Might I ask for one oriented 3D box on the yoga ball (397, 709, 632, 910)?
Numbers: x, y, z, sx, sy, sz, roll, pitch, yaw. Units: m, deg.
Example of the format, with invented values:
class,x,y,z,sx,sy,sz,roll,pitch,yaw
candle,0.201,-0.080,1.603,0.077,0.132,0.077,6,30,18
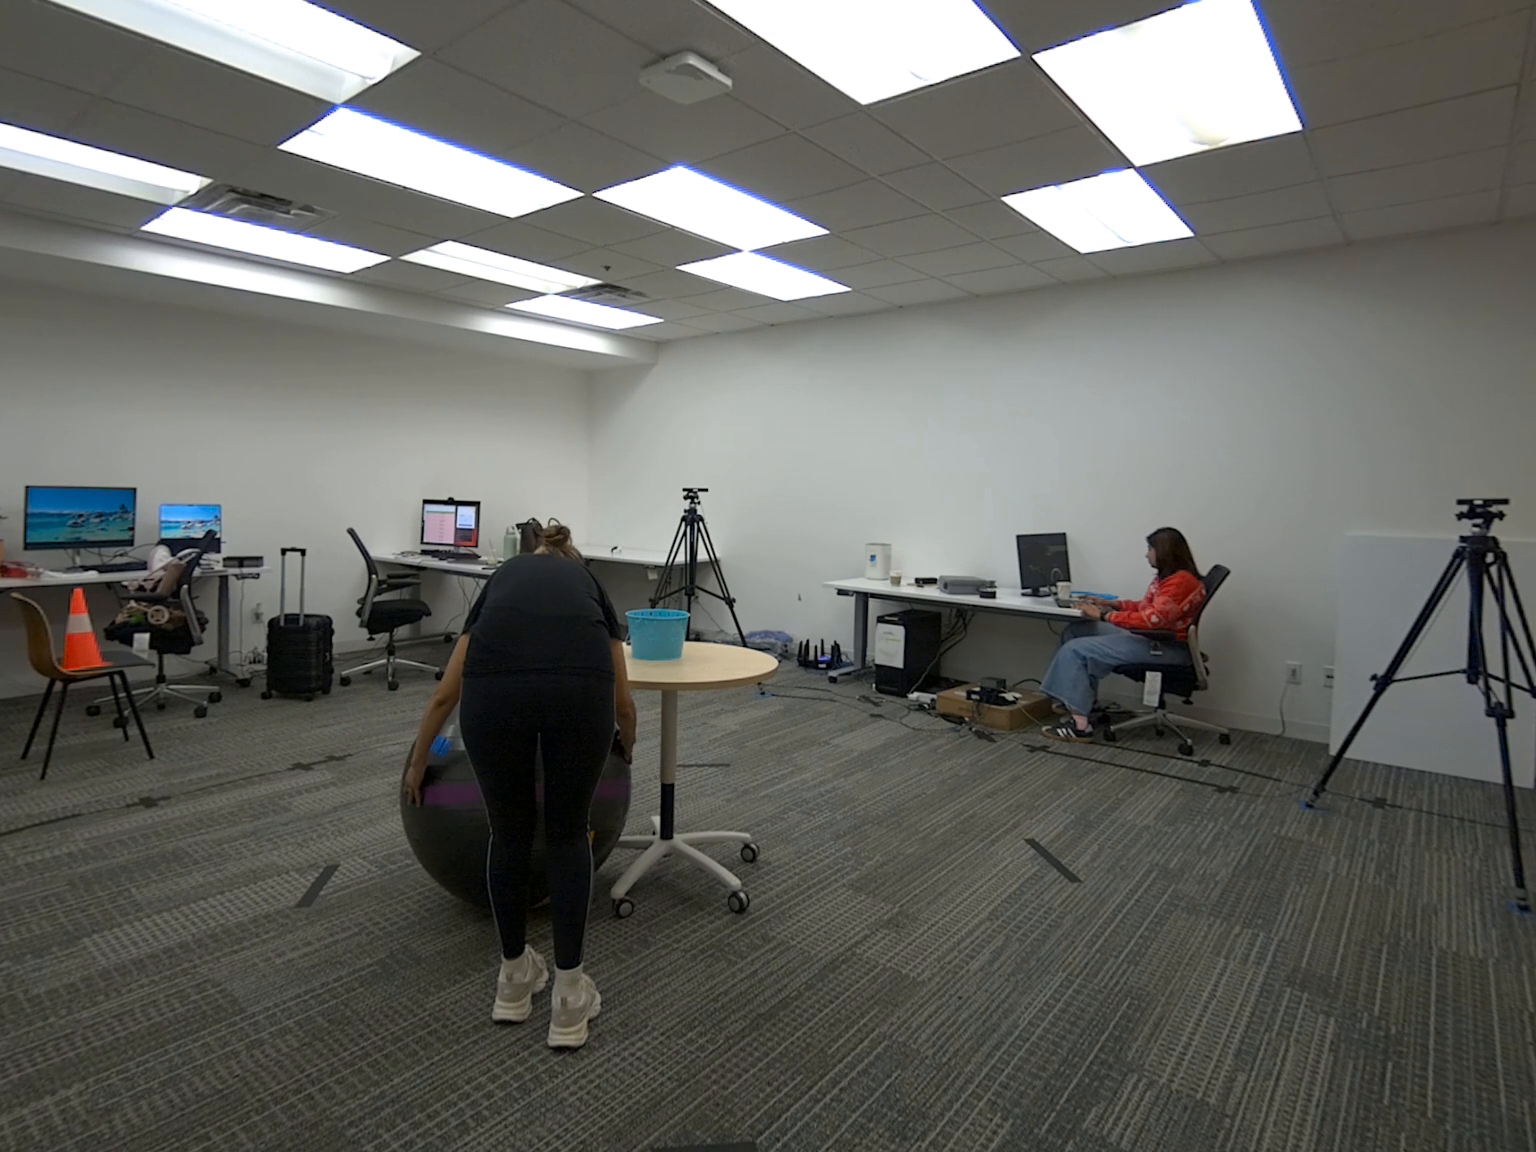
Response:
class,x,y,z,sx,sy,sz,roll,pitch,yaw
yoga ball,-0.866,0.718,2.865,0.757,0.756,0.761,1,4,-2
